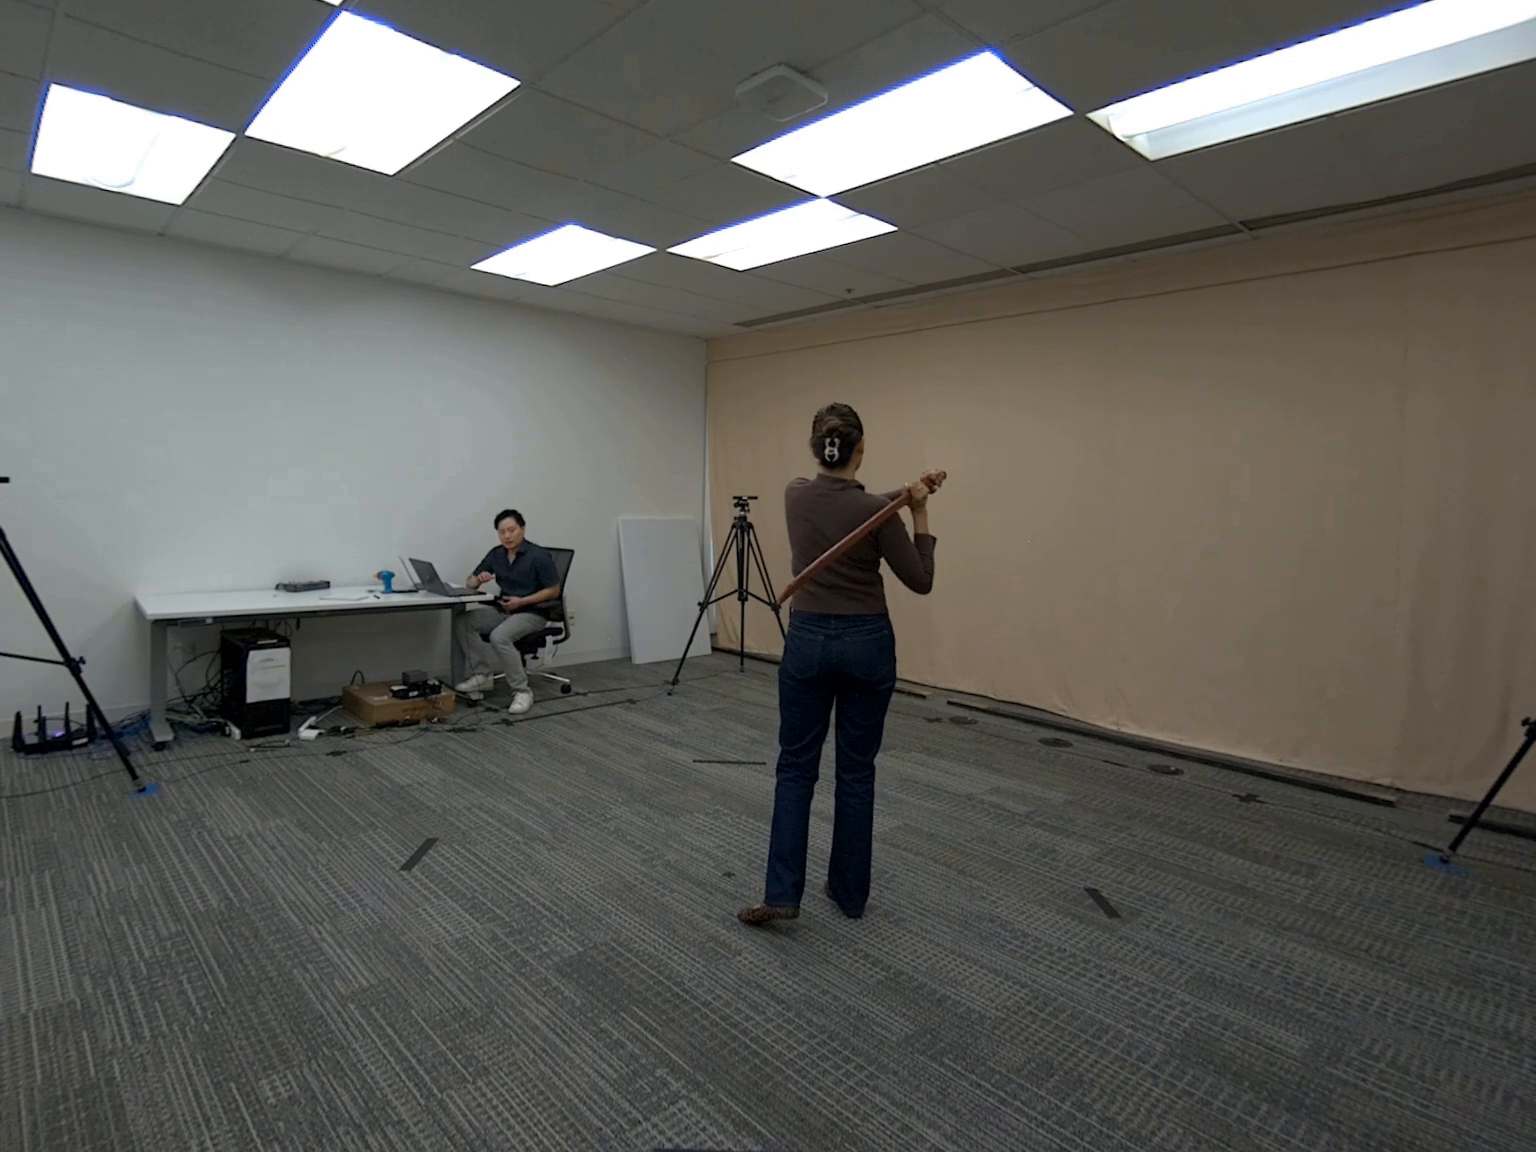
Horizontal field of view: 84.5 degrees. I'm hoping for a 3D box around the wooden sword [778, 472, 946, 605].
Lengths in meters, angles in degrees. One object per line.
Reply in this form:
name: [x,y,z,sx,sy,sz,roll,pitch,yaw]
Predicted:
wooden sword: [0.304,-0.152,2.472,0.053,0.023,1.016,28,40,28]
